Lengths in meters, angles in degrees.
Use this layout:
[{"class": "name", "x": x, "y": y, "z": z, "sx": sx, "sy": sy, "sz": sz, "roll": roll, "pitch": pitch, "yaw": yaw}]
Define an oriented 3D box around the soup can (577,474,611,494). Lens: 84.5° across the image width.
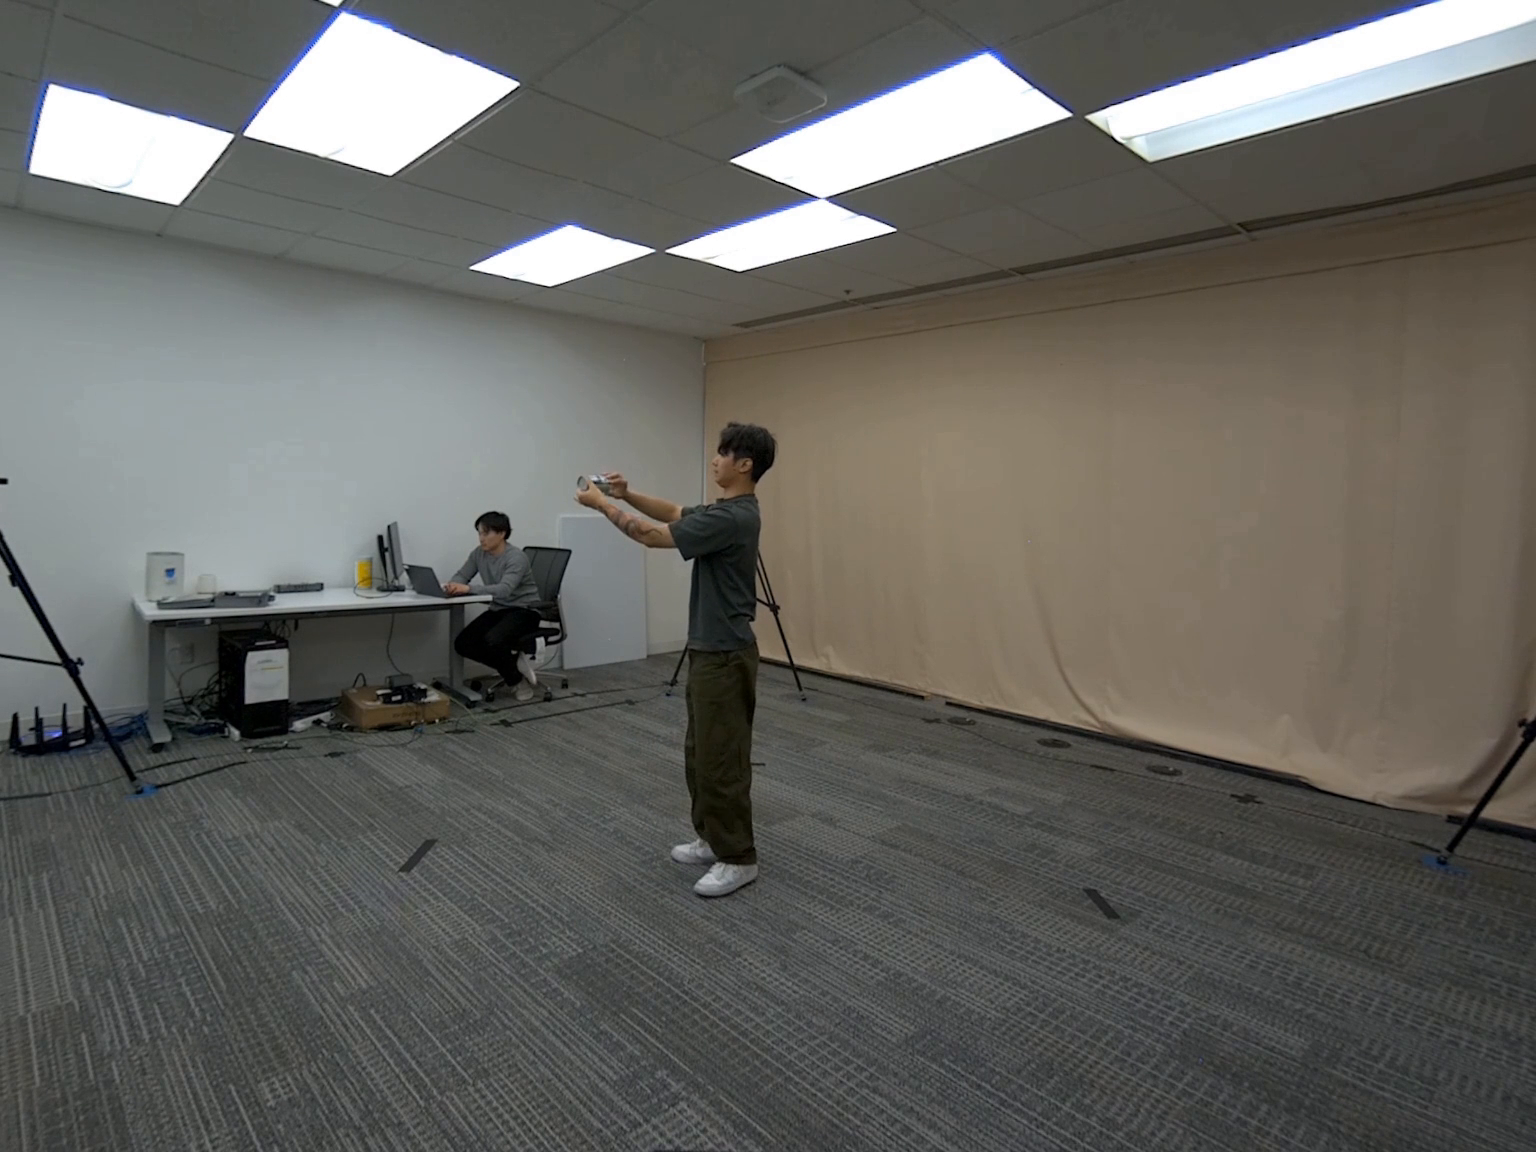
[{"class": "soup can", "x": -0.653, "y": -0.345, "z": 3.174, "sx": 0.119, "sy": 0.067, "sz": 0.069, "roll": -3, "pitch": 6, "yaw": -40}]
